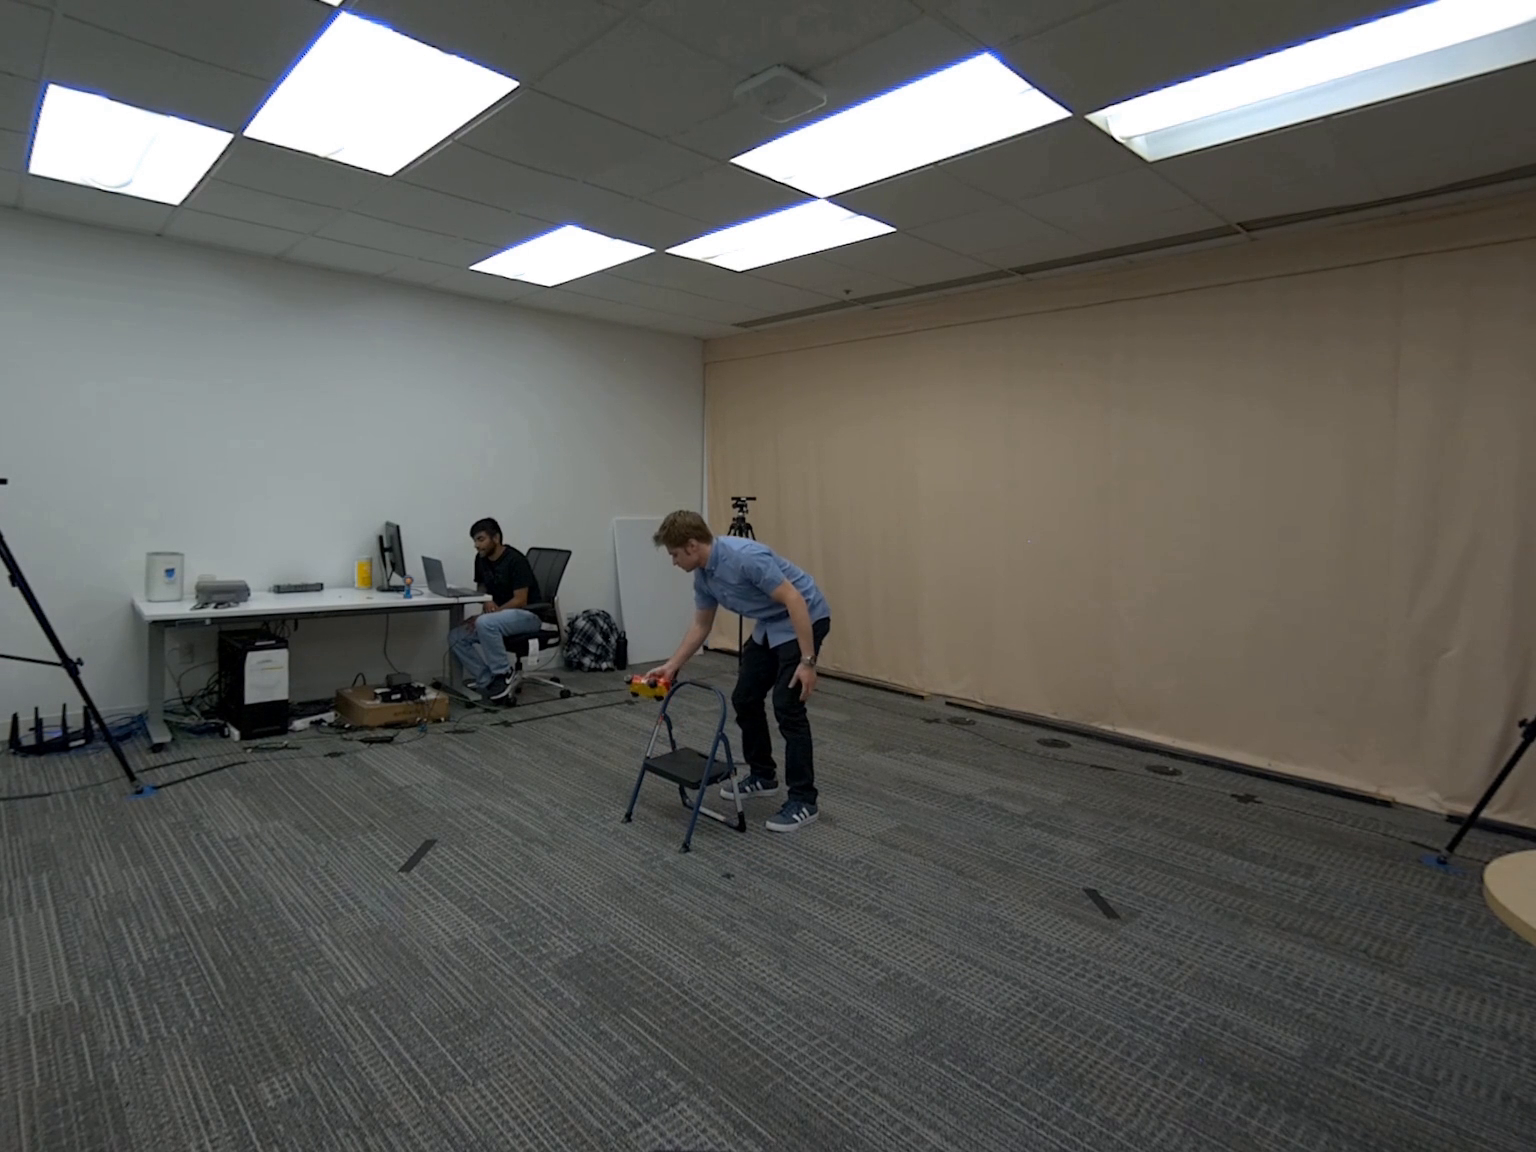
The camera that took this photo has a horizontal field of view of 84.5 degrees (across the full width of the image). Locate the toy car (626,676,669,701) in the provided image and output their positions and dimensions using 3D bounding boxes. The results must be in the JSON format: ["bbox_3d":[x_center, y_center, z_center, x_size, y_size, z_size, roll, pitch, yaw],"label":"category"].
[{"bbox_3d":[-0.567,0.525,3.970,0.259,0.127,0.084,-3,37,28],"label":"toy car"}]
